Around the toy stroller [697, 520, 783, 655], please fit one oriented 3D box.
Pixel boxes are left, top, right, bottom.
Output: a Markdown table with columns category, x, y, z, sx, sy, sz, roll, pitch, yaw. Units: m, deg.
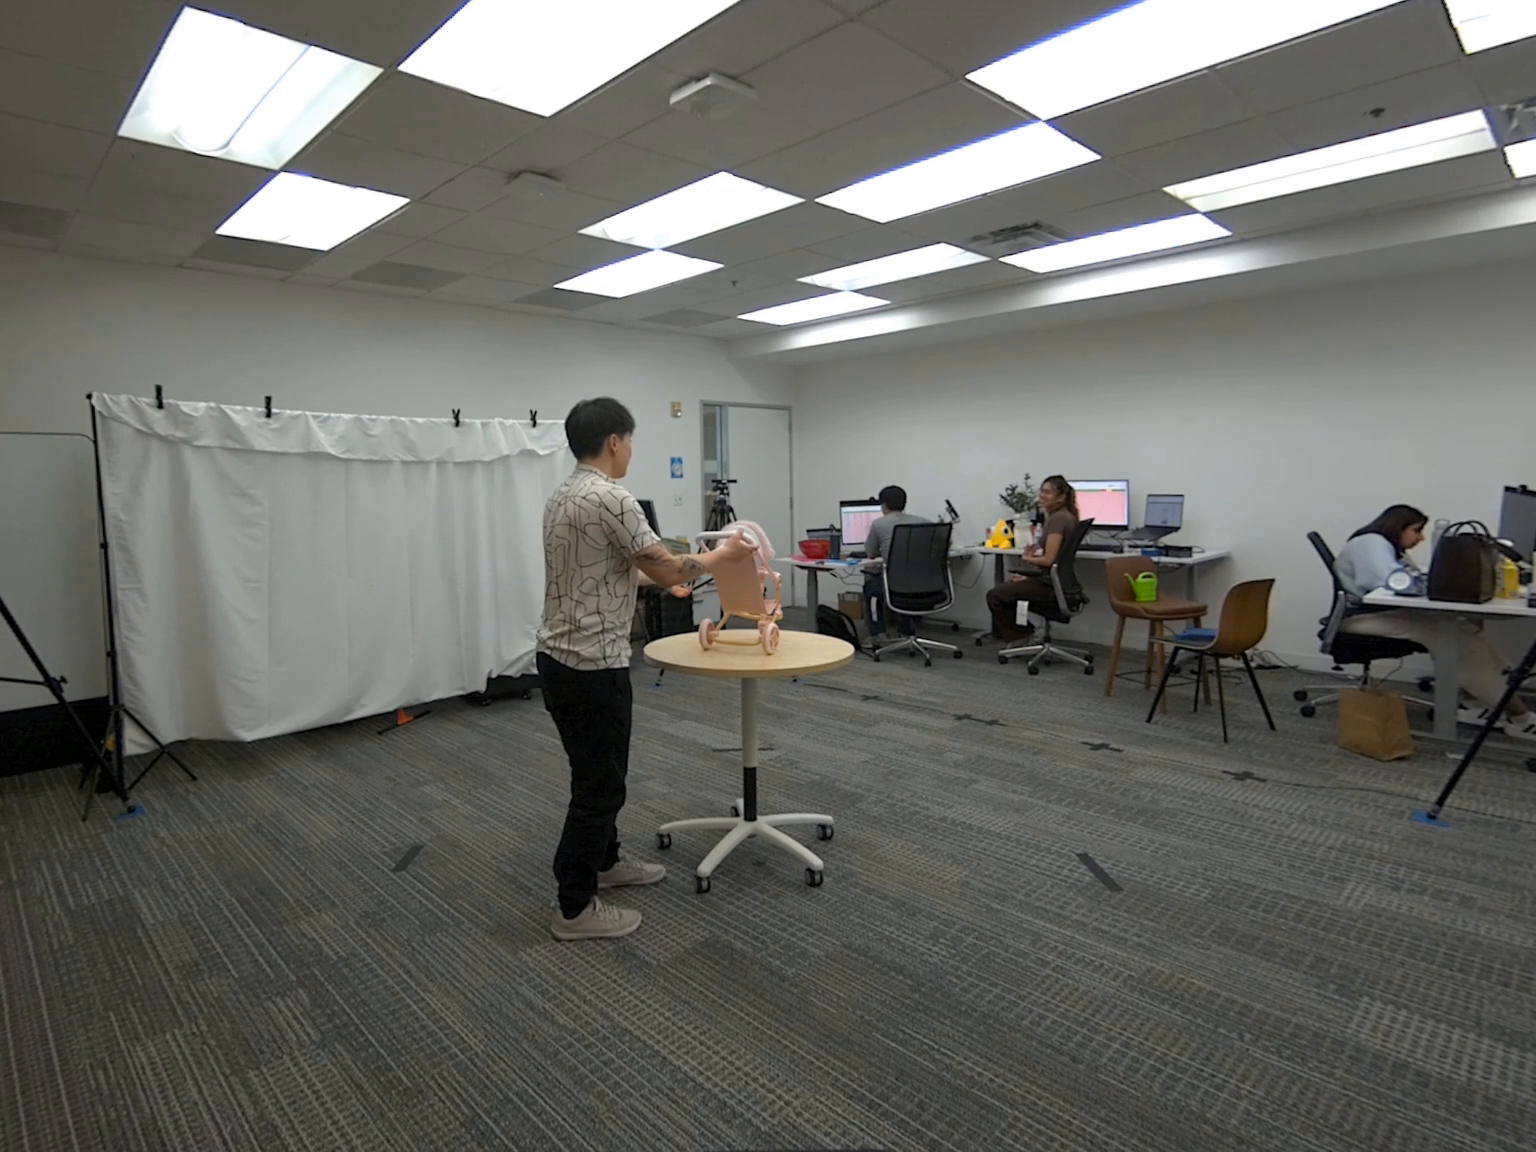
| category | x | y | z | sx | sy | sz | roll | pitch | yaw |
| --- | --- | --- | --- | --- | --- | --- | --- | --- | --- |
| toy stroller | -0.079 | 0.041 | 3.093 | 0.288 | 0.525 | 0.339 | 2 | 20 | 26 |
